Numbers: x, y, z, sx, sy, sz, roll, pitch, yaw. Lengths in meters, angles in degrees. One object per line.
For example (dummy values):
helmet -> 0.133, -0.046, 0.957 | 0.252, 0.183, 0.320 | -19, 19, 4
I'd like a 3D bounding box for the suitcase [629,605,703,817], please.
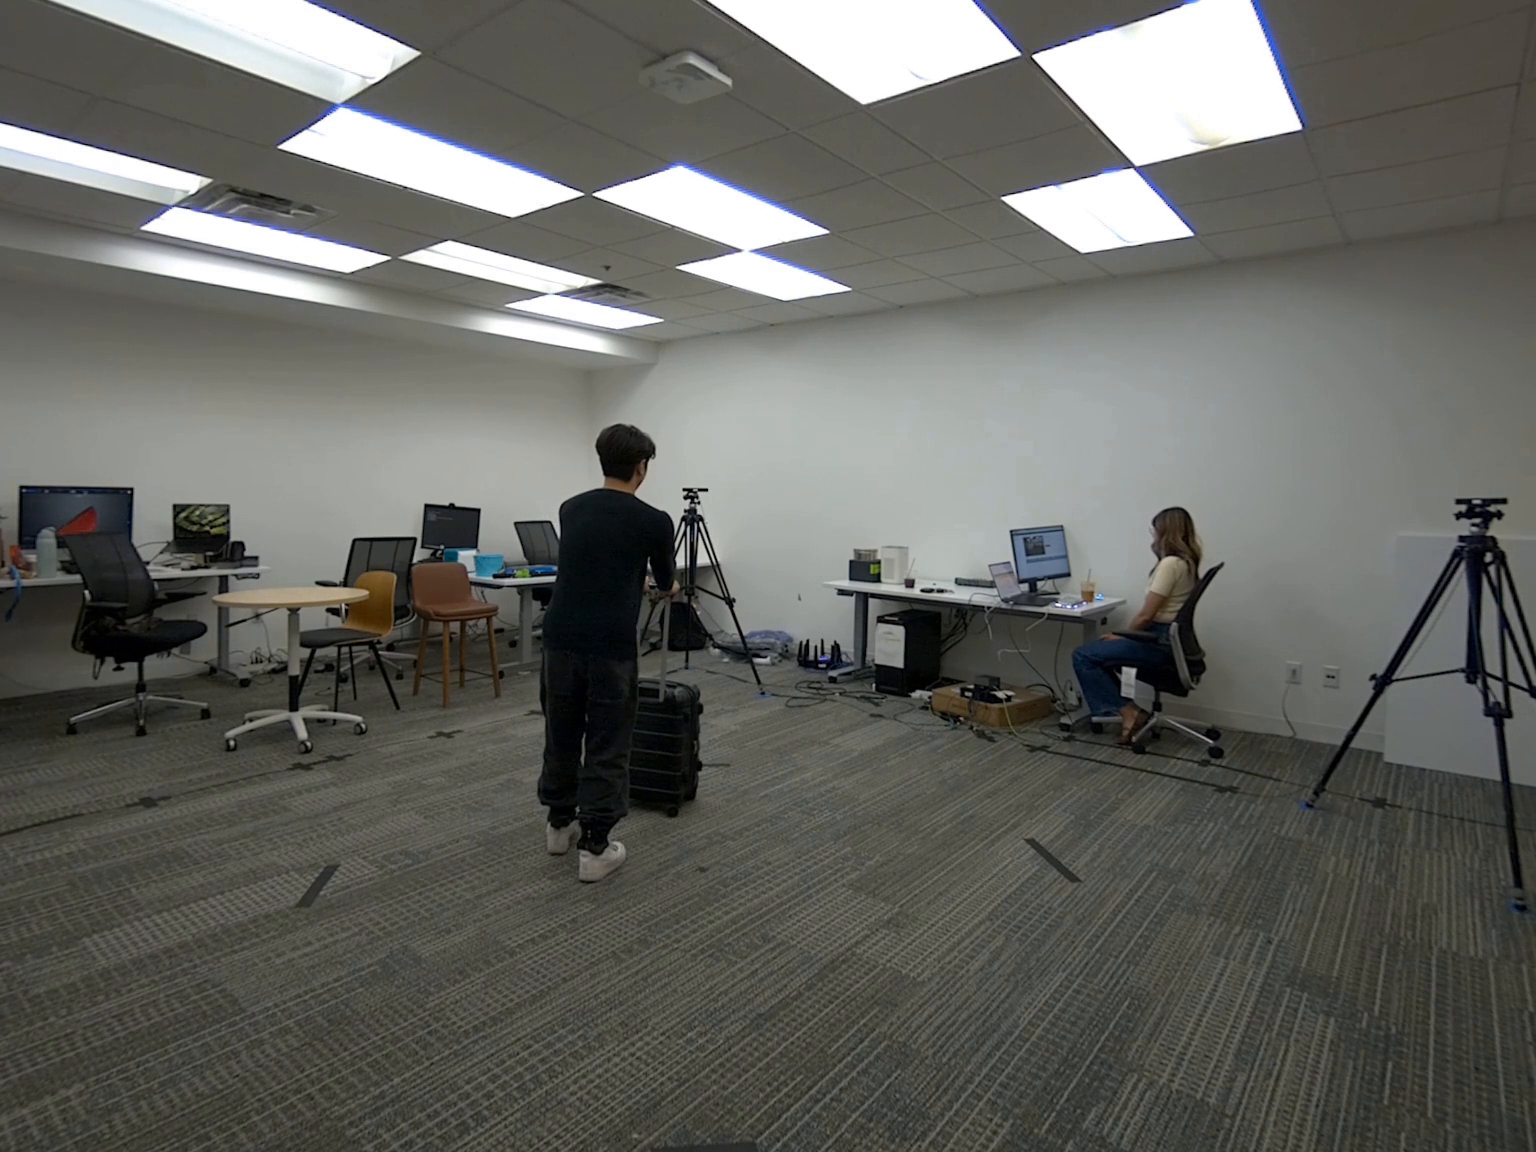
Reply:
suitcase -> -0.497, 0.527, 3.769 | 0.392, 0.978, 0.252 | 3, 1, 18
